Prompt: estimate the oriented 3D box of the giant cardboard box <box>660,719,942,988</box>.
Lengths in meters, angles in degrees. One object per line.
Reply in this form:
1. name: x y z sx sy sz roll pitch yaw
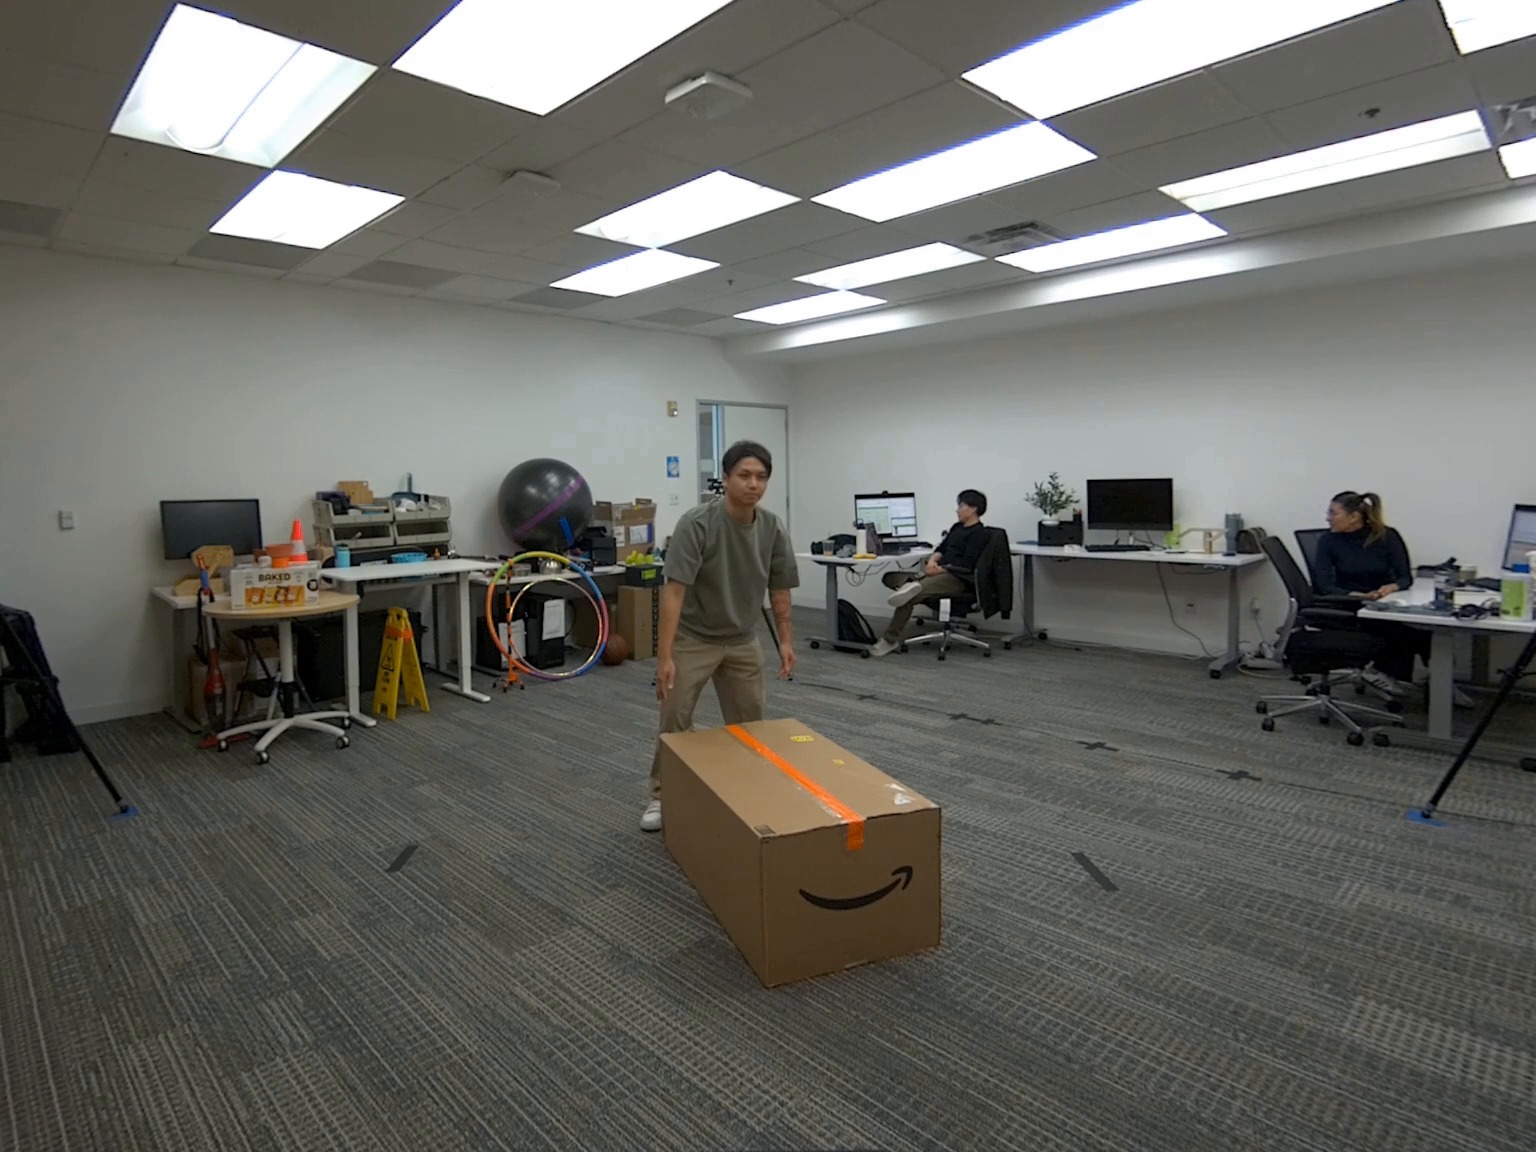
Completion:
1. giant cardboard box: 0.054 0.851 2.902 0.567 0.424 1.050 -4 7 -23
